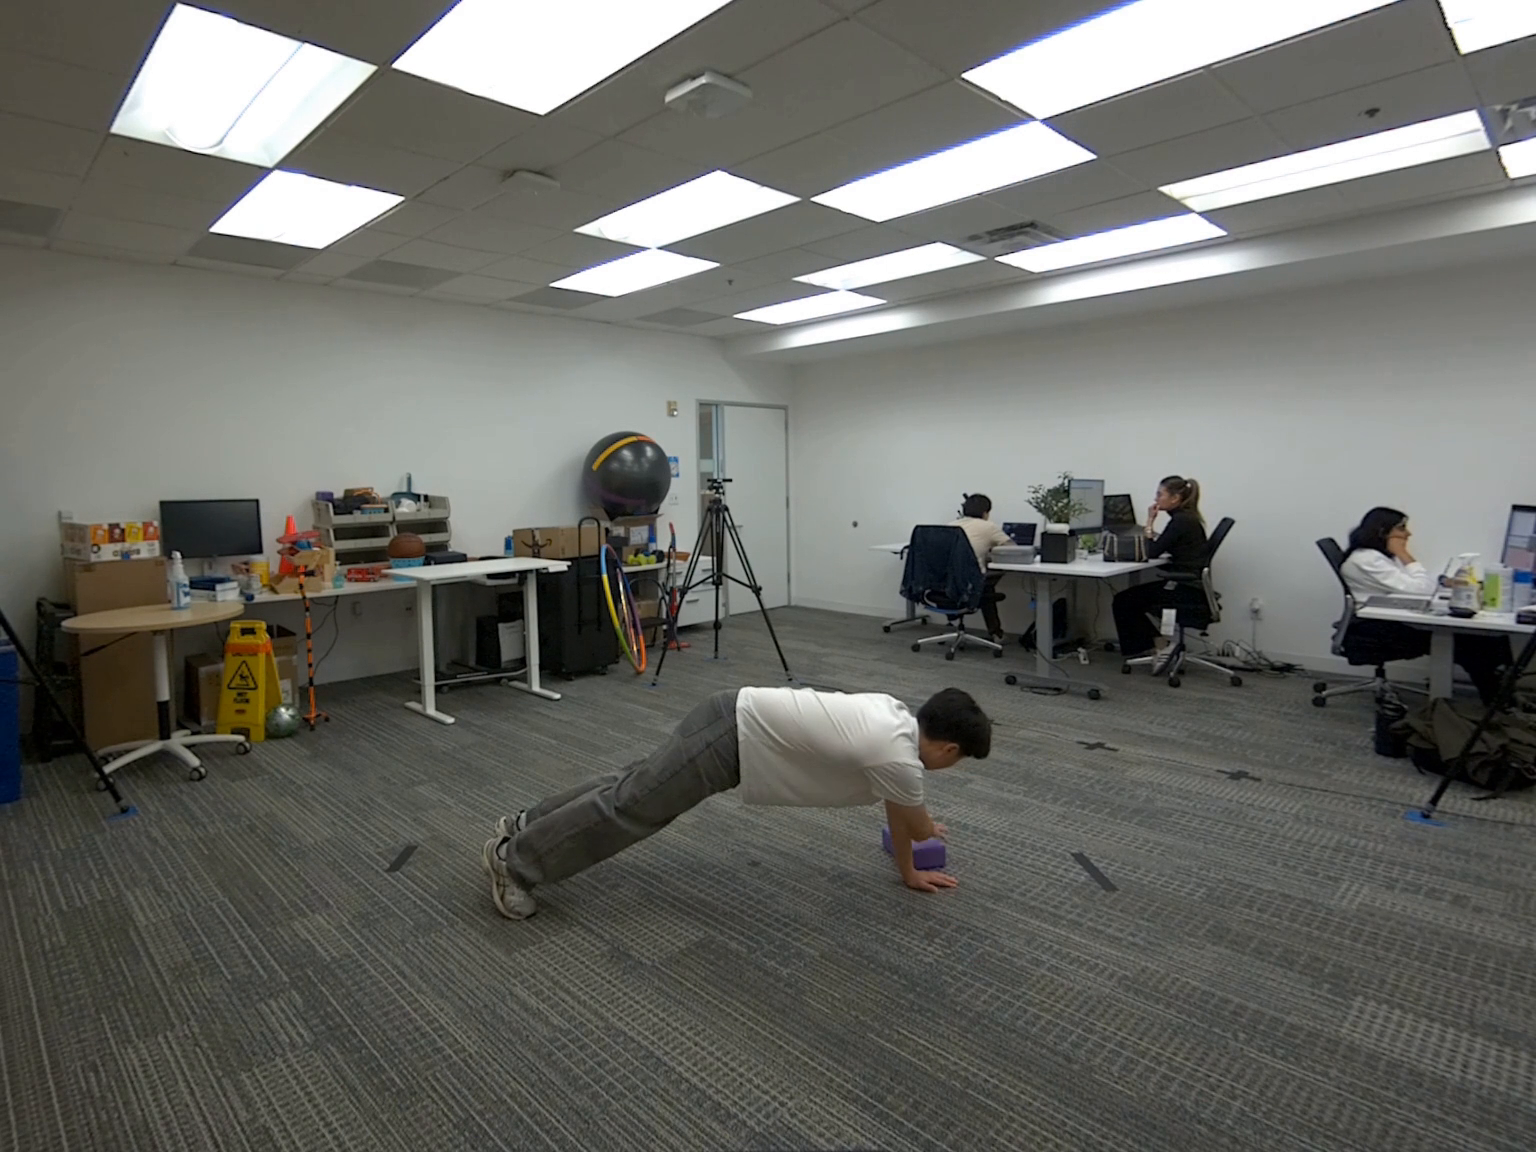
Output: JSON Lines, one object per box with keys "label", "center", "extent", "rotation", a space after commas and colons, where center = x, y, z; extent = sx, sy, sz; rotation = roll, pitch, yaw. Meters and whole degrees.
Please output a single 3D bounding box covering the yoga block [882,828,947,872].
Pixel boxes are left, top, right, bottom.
{"label": "yoga block", "center": [0.544, 0.991, 3.143], "extent": [0.147, 0.076, 0.233], "rotation": [-2, 6, -16]}
